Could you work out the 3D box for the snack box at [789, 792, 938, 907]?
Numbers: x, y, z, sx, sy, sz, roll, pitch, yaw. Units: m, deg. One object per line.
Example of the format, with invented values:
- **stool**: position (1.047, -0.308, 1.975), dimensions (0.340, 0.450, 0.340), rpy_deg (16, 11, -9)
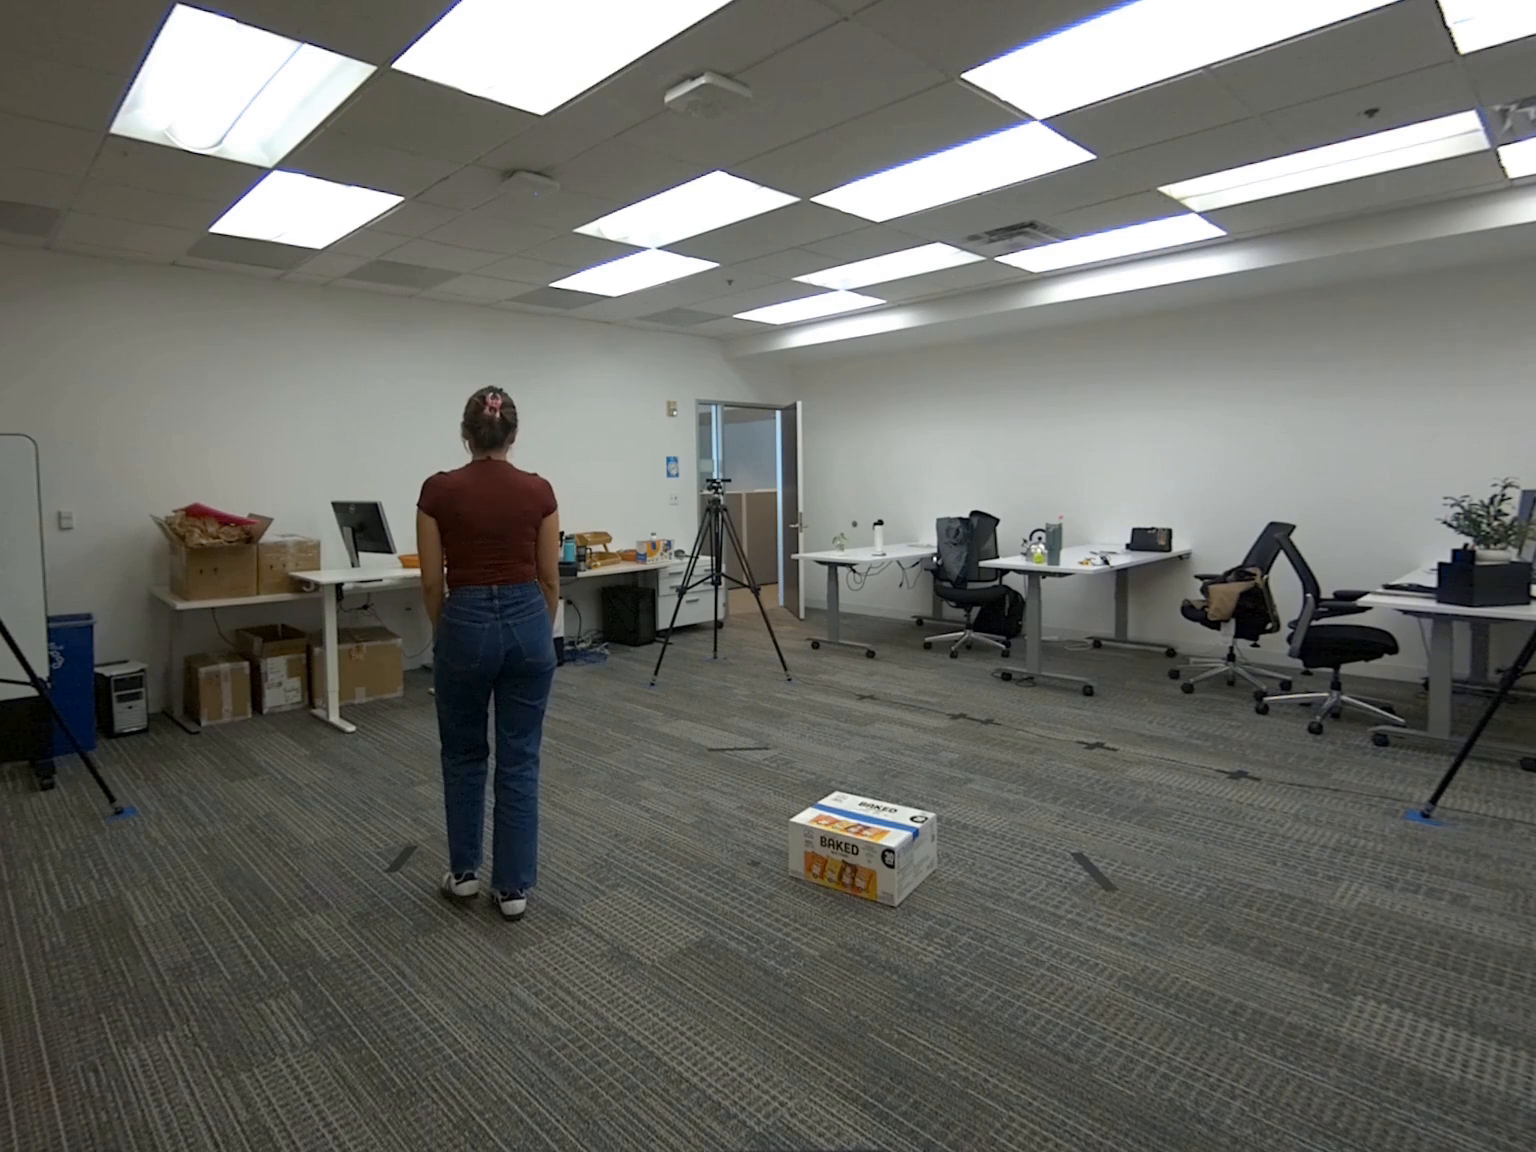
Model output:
- **snack box**: position (0.337, 0.947, 3.007), dimensions (0.417, 0.205, 0.332), rpy_deg (3, 7, 35)
